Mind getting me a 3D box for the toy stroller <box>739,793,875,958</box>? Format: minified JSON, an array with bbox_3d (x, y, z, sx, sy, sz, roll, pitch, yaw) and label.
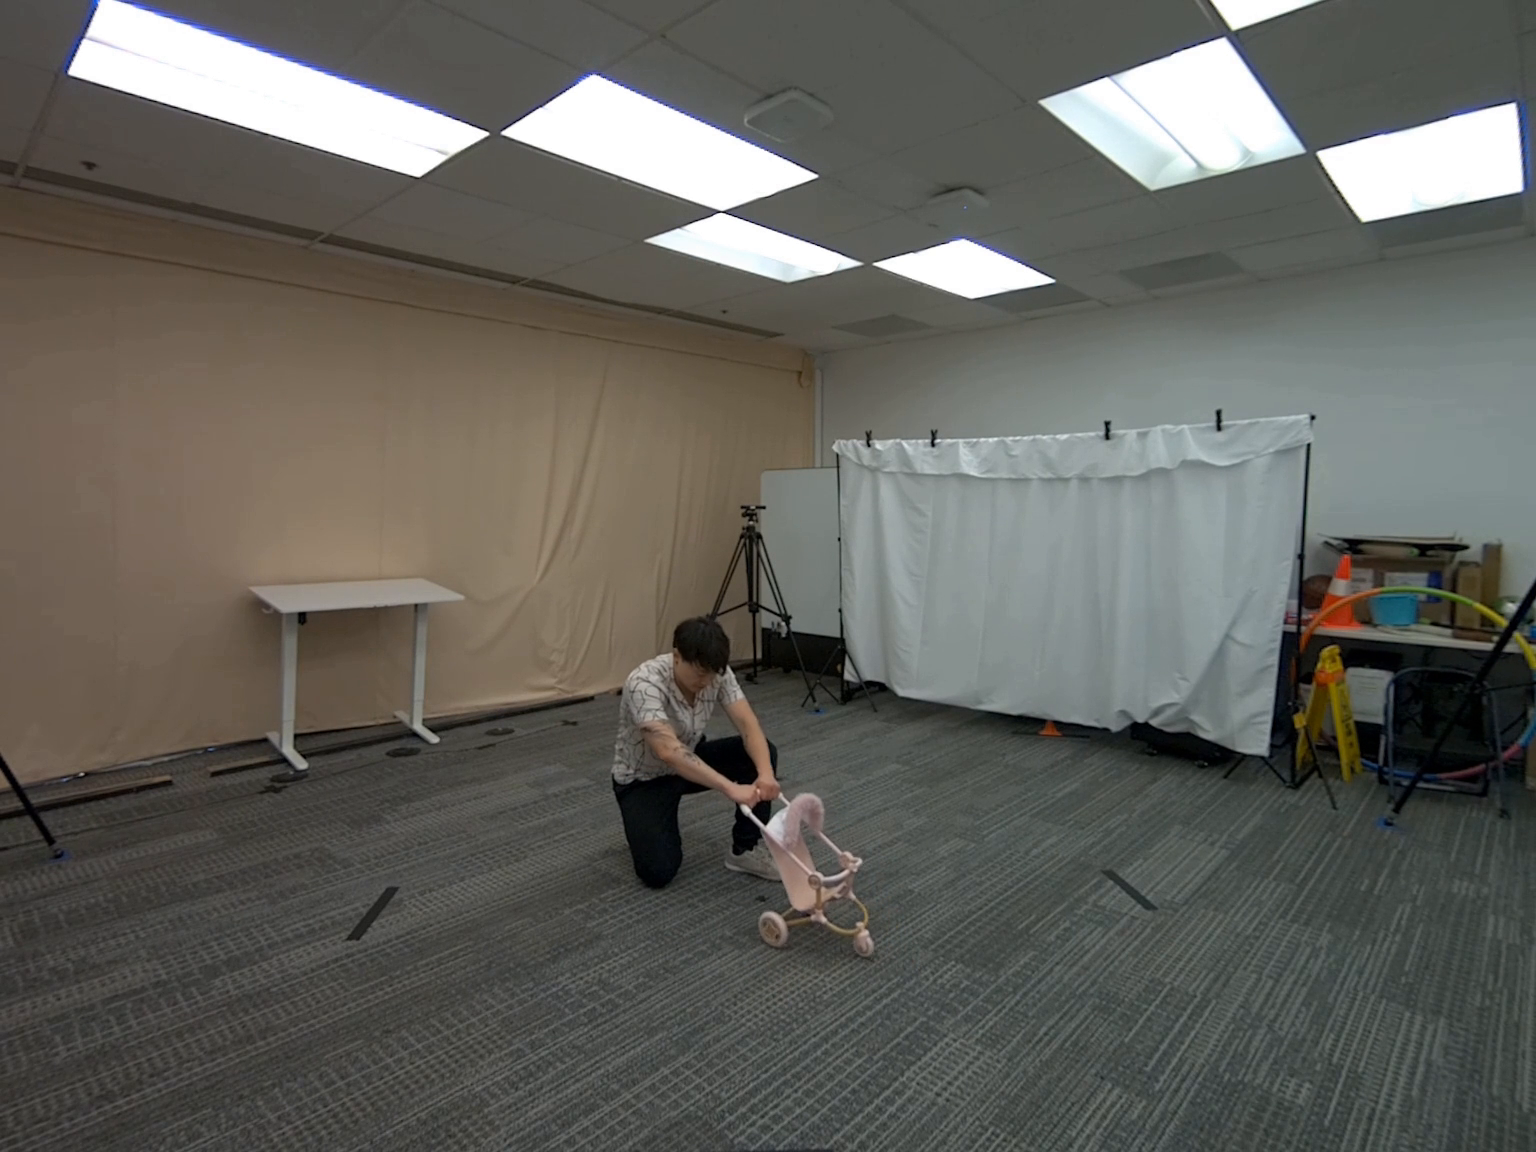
[{"bbox_3d":[0.140,0.940,2.709,0.349,0.538,0.273,-19,-9,40],"label":"toy stroller"}]
